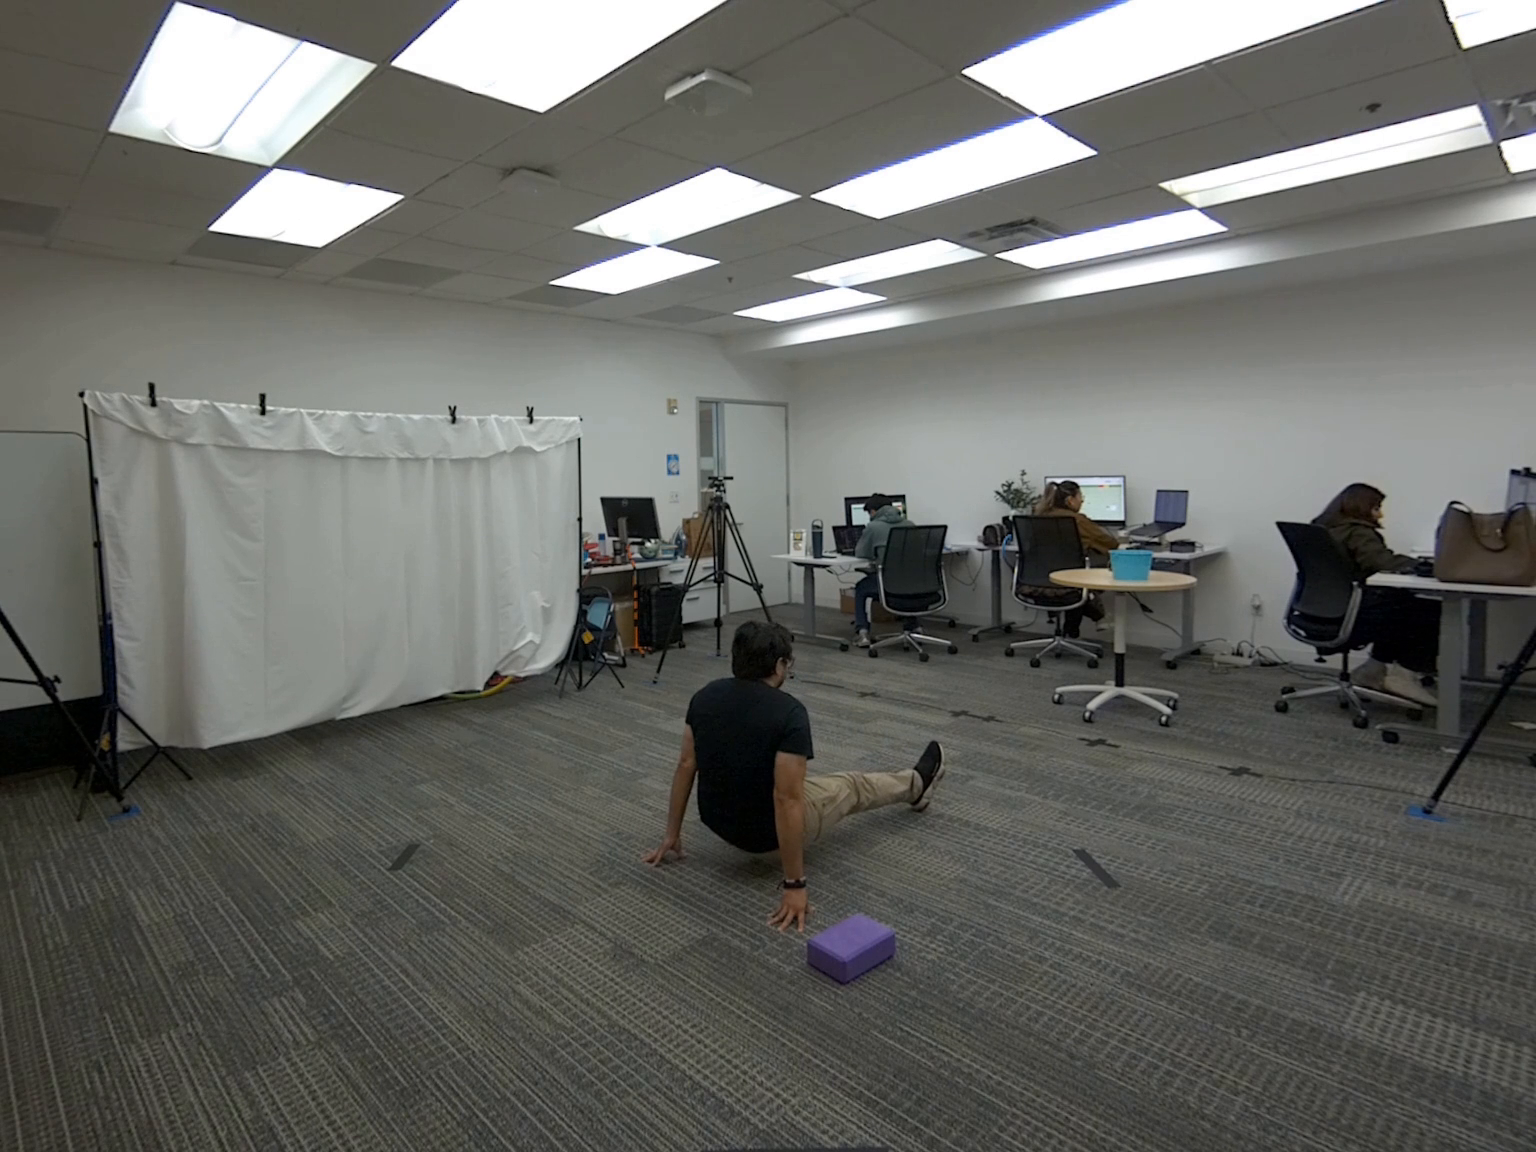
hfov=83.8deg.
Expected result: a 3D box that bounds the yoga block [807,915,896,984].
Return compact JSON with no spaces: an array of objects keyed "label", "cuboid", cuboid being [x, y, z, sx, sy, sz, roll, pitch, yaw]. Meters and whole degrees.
[{"label":"yoga block","cuboid":[0.246,1.071,2.464,0.223,0.076,0.154,-8,10,-42]}]
